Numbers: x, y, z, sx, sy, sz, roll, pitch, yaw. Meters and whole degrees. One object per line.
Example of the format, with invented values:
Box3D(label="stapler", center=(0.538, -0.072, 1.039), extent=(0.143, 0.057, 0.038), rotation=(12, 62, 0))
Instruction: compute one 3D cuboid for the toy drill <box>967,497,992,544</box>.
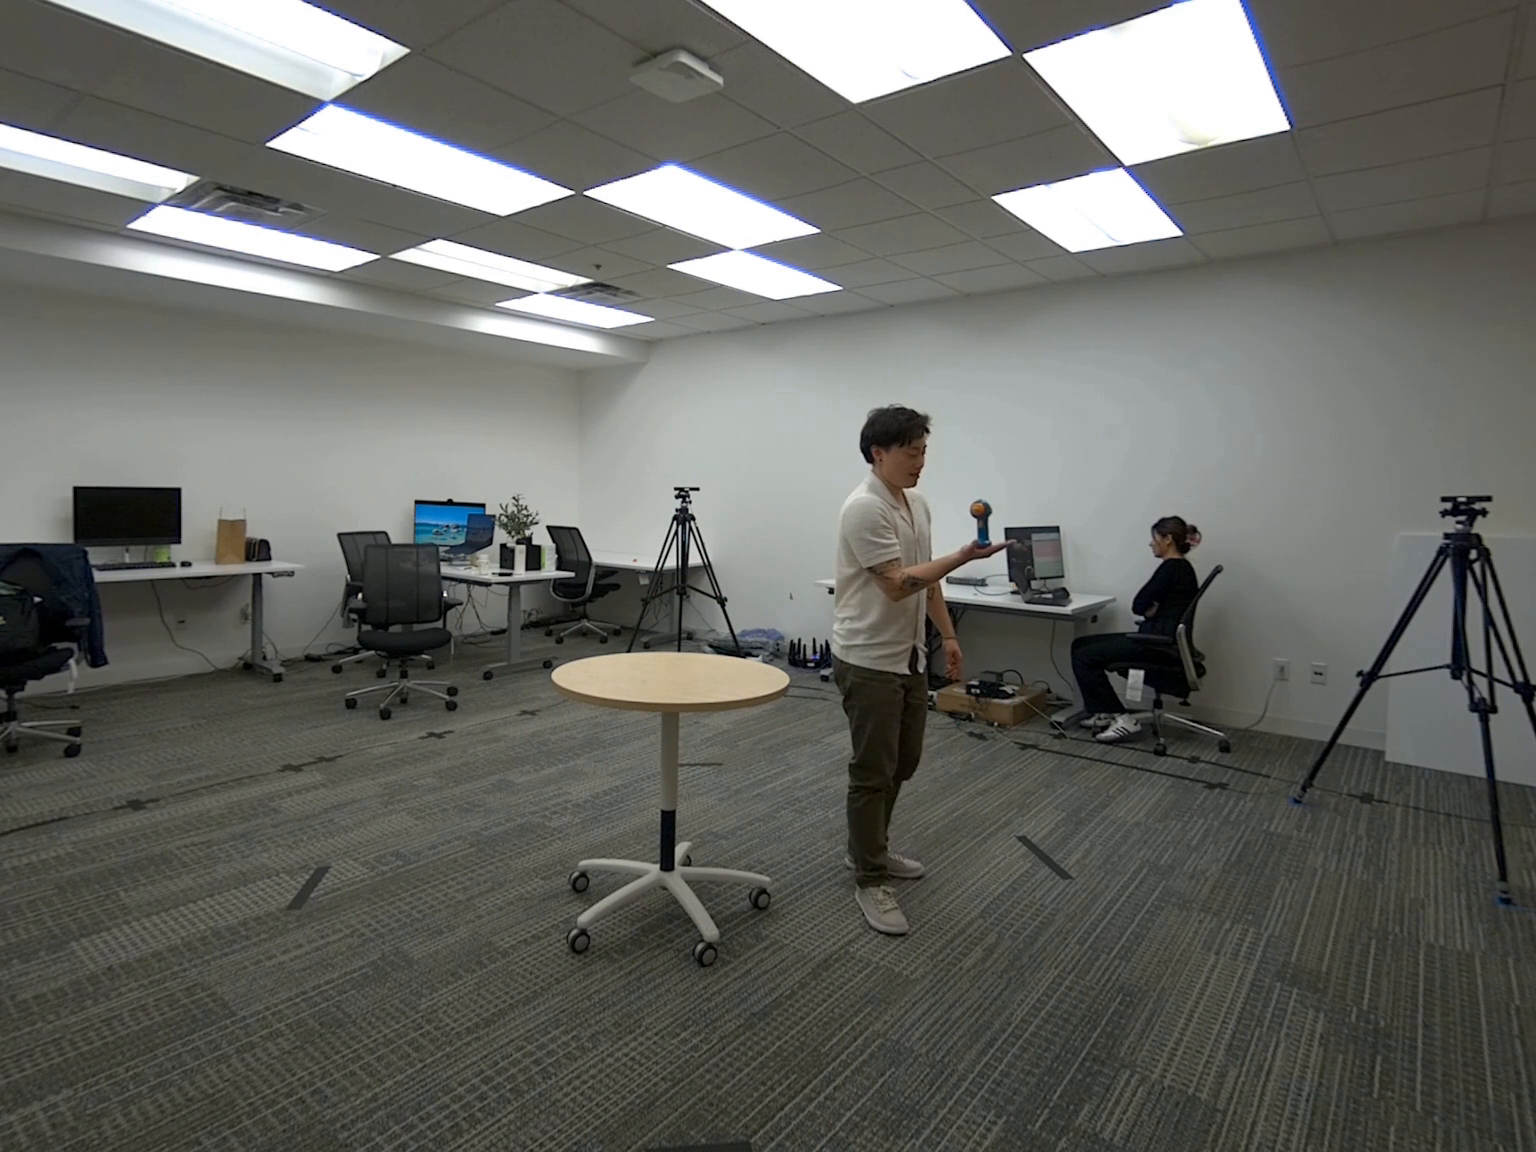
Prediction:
Box3D(label="toy drill", center=(0.637, -0.161, 2.542), extent=(0.062, 0.146, 0.167), rotation=(1, 0, 13))
